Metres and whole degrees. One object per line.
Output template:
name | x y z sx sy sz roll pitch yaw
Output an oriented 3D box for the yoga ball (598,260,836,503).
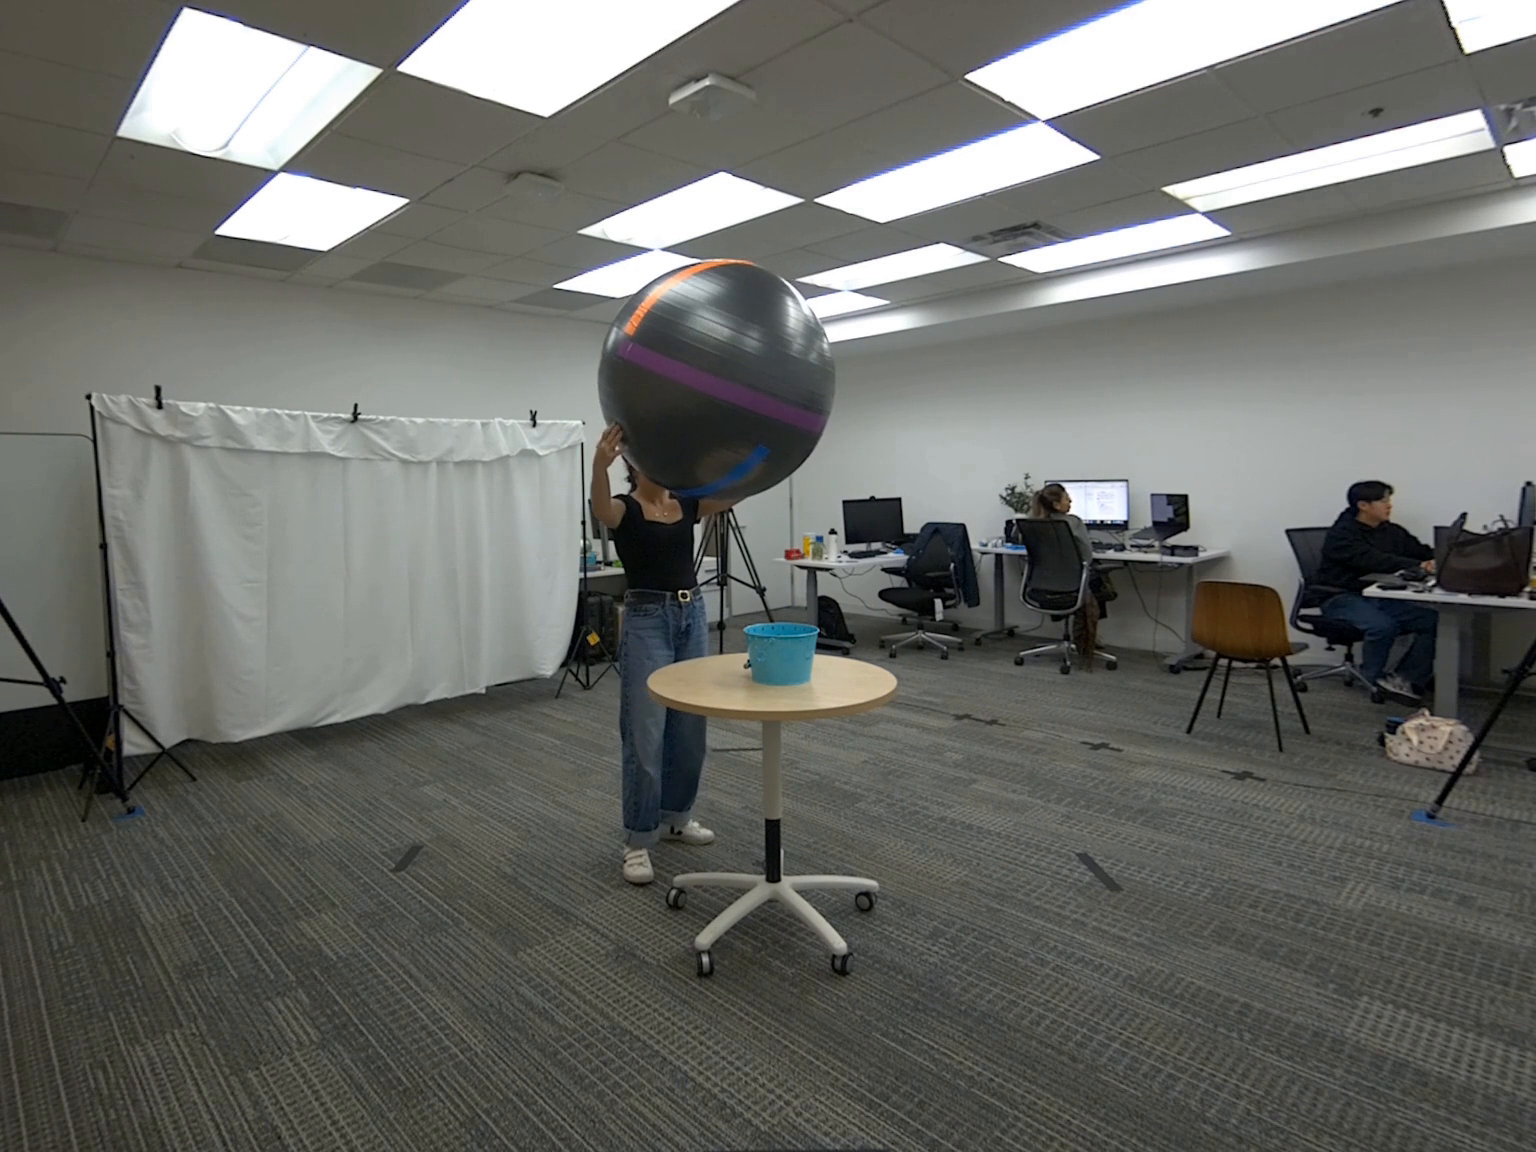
yoga ball | -0.162 -0.619 2.745 0.757 0.755 0.762 -1 5 -2
